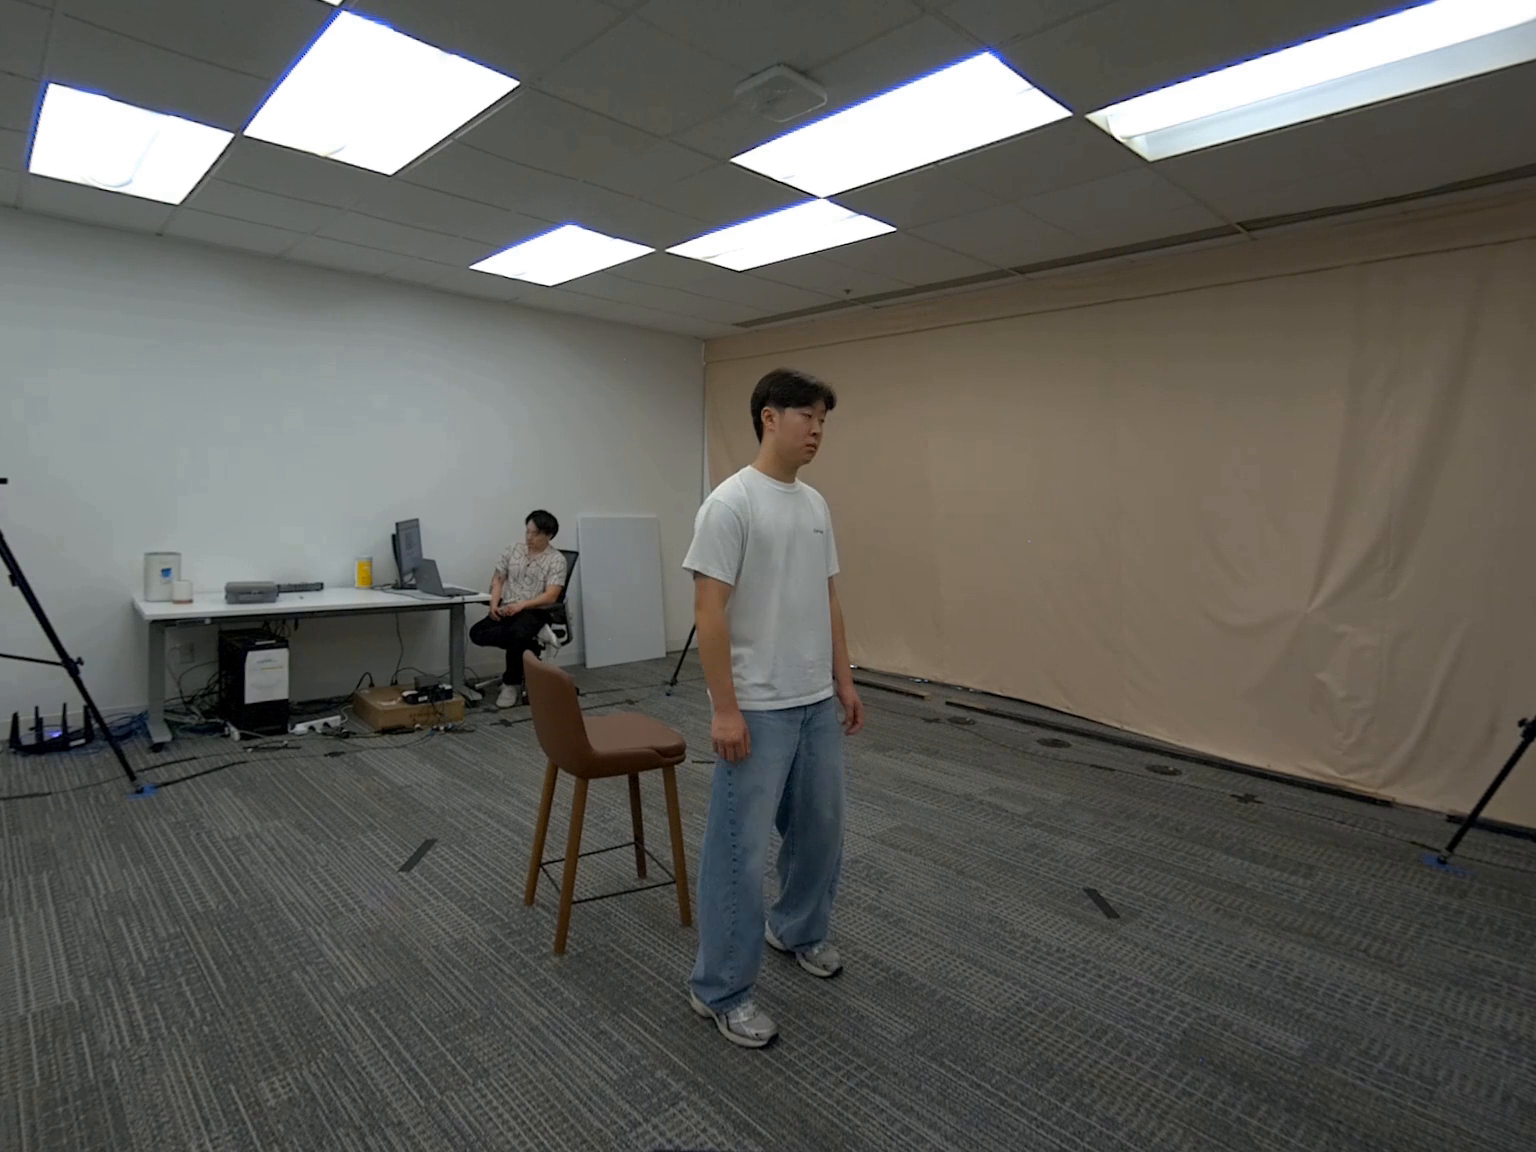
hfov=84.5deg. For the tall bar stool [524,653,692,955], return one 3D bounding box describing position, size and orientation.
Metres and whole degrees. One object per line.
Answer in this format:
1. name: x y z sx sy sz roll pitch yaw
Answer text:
1. tall bar stool: -0.544 0.691 2.777 0.458 0.887 0.467 -3 5 -30
